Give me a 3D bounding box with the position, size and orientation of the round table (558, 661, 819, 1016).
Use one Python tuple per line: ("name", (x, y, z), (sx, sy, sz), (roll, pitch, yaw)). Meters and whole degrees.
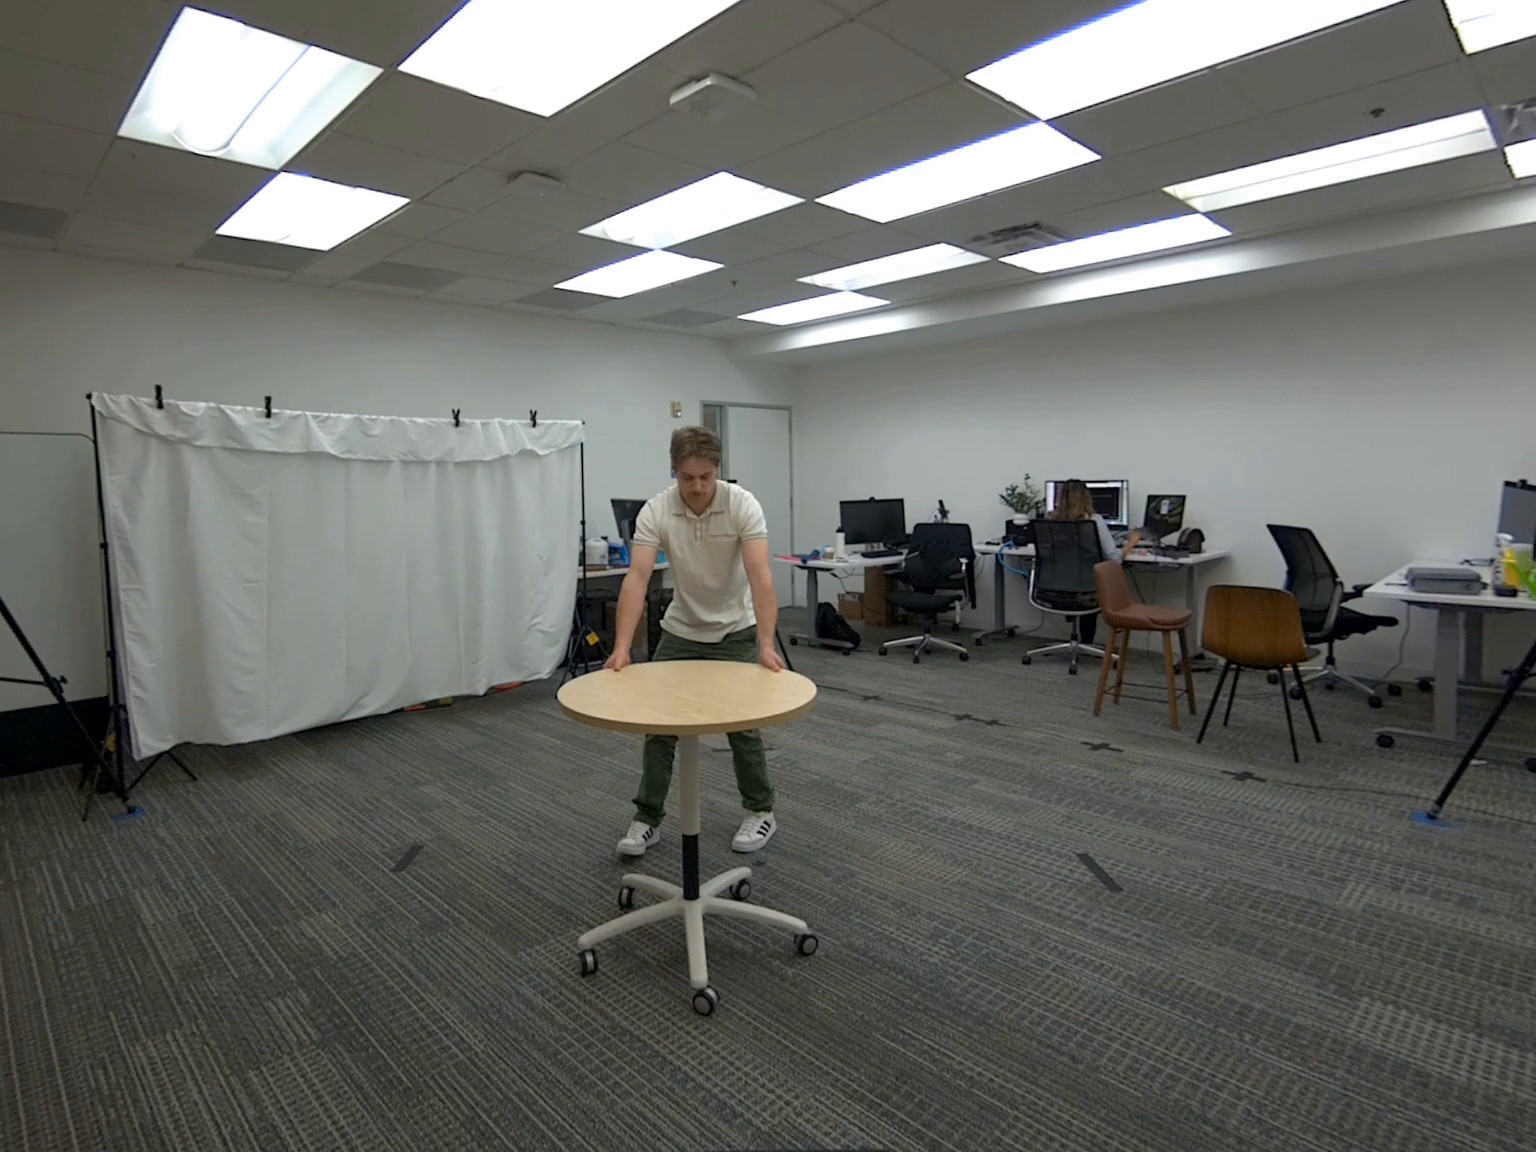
("round table", (-0.237, 0.721, 2.582), (0.784, 0.783, 0.789), (-1, 5, -2))
